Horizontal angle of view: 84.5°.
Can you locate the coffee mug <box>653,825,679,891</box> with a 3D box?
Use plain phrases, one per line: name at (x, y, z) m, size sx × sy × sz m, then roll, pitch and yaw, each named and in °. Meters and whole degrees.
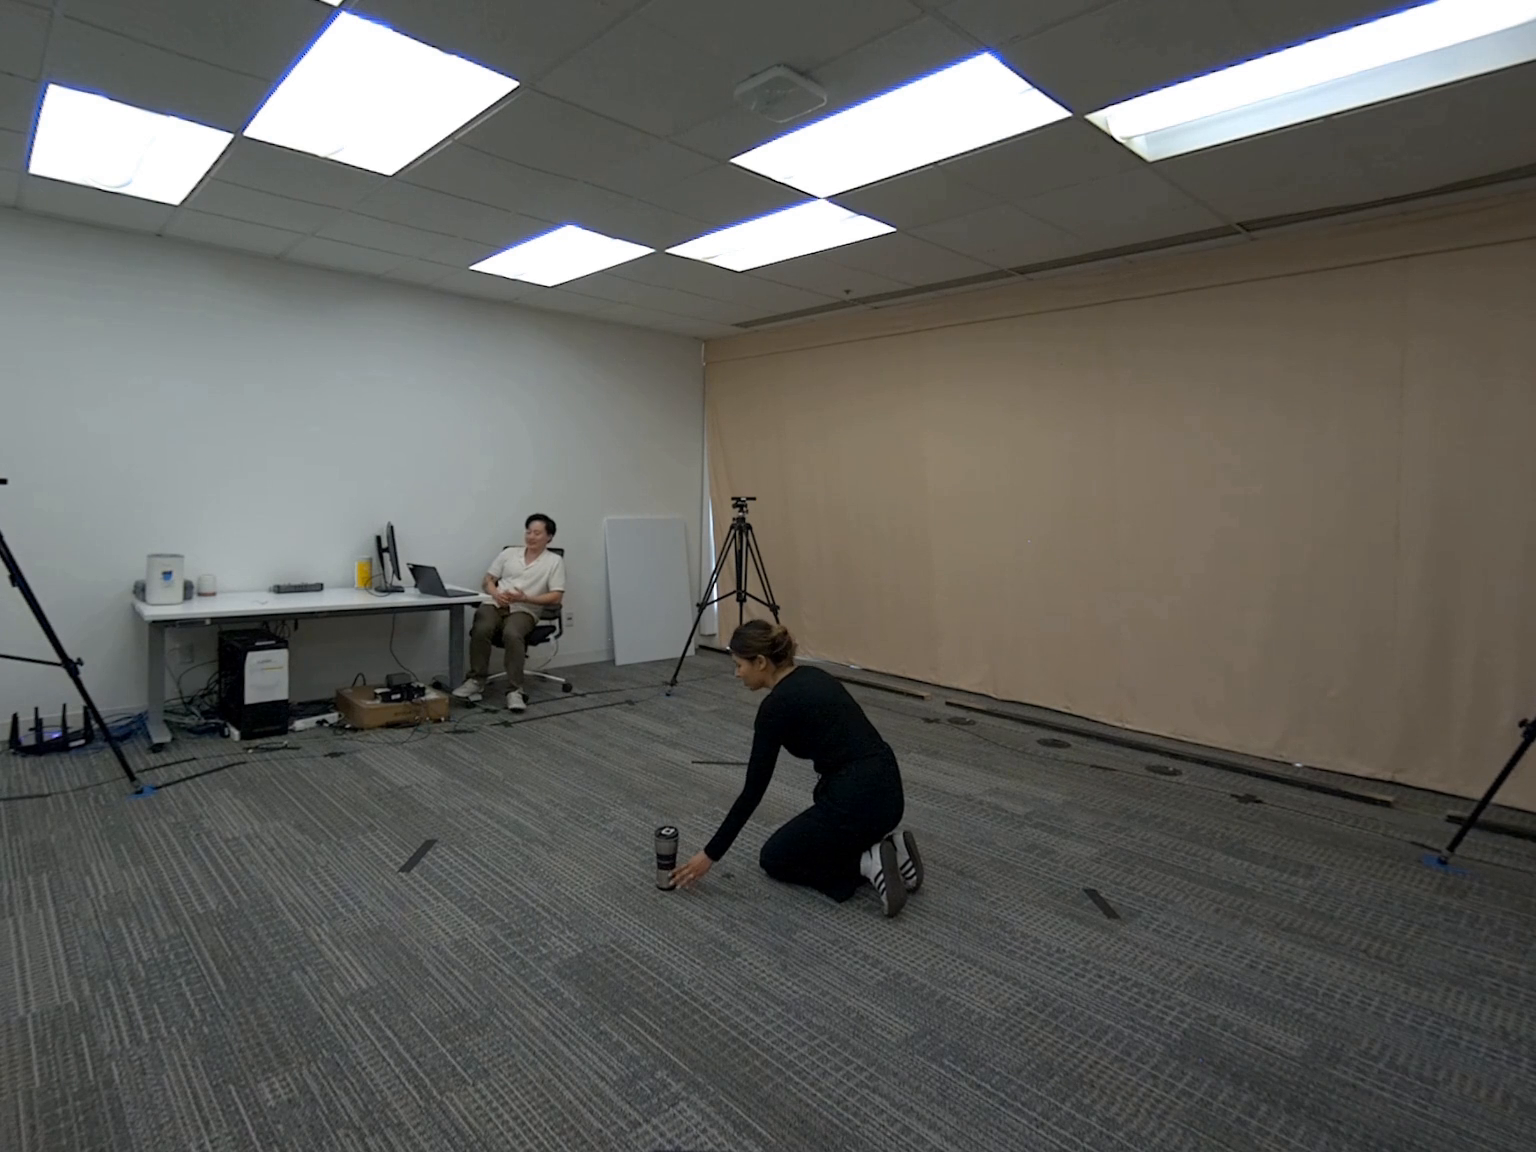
coffee mug at (-0.357, 1.003, 3.027) m, size 0.089 × 0.202 × 0.120 m, roll 3°, pitch 8°, yaw 21°
